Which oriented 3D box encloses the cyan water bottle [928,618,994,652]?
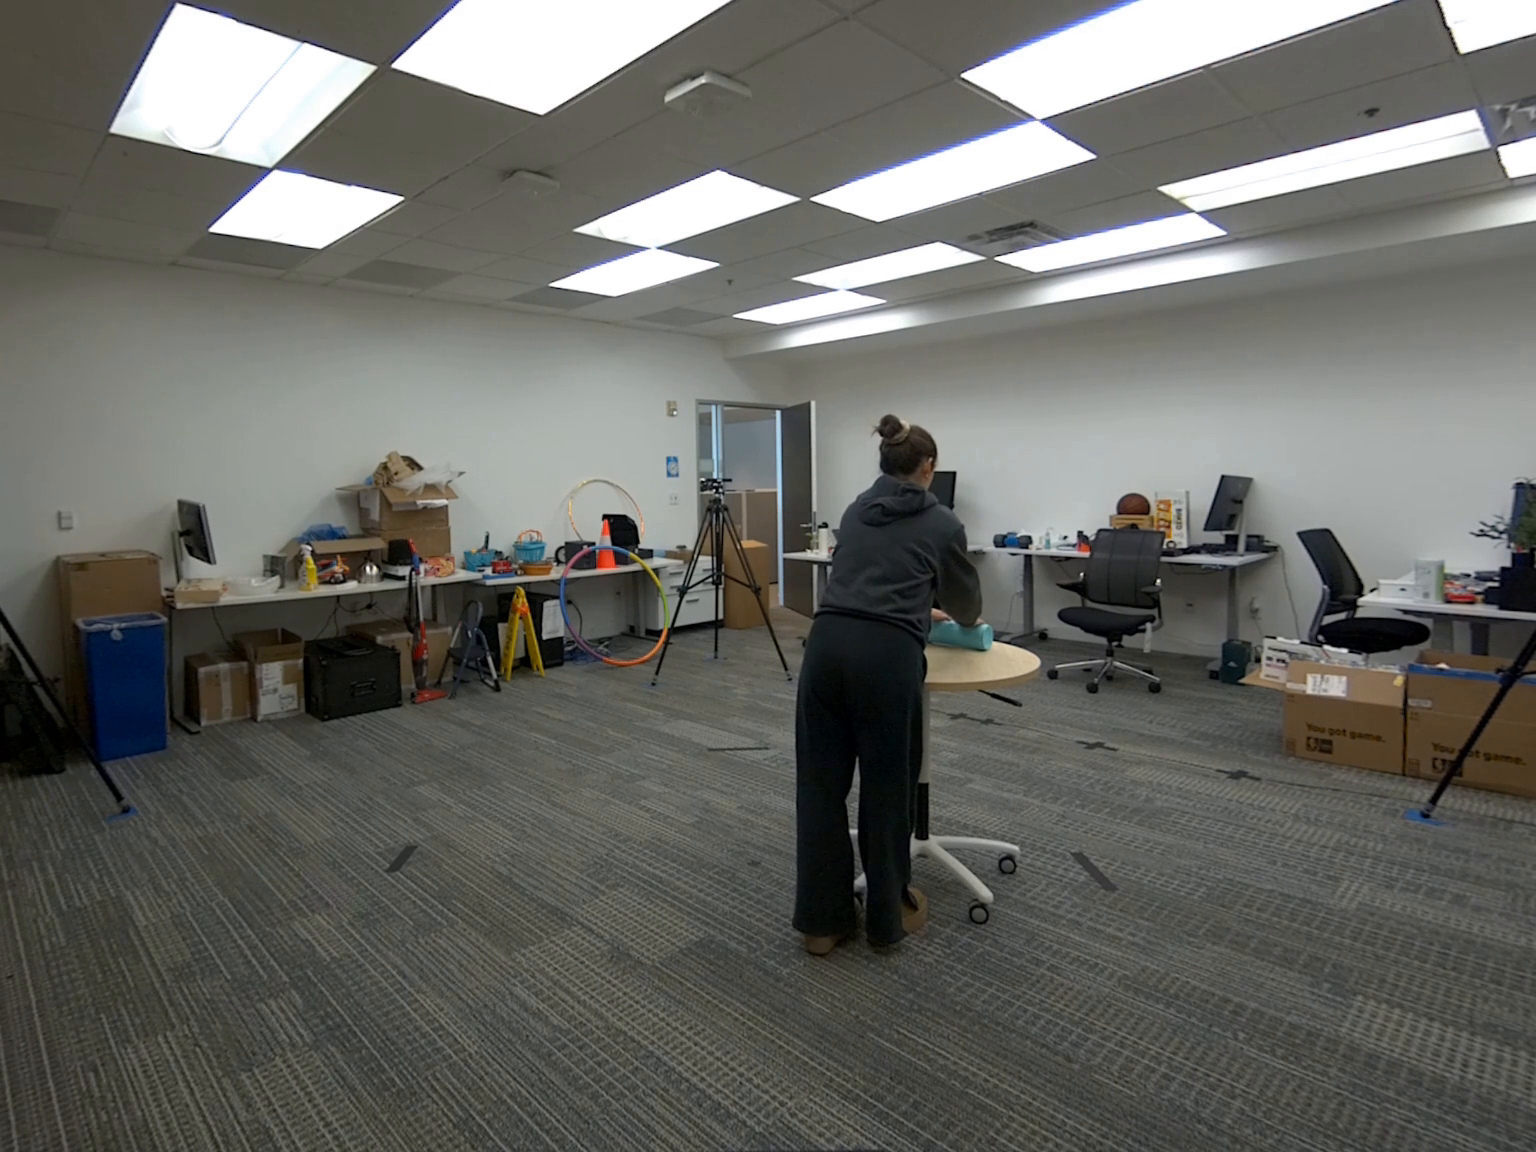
[{"bbox_3d":[0.654,0.208,3.060,0.292,0.092,0.090,5,7,41],"label":"cyan water bottle"}]
